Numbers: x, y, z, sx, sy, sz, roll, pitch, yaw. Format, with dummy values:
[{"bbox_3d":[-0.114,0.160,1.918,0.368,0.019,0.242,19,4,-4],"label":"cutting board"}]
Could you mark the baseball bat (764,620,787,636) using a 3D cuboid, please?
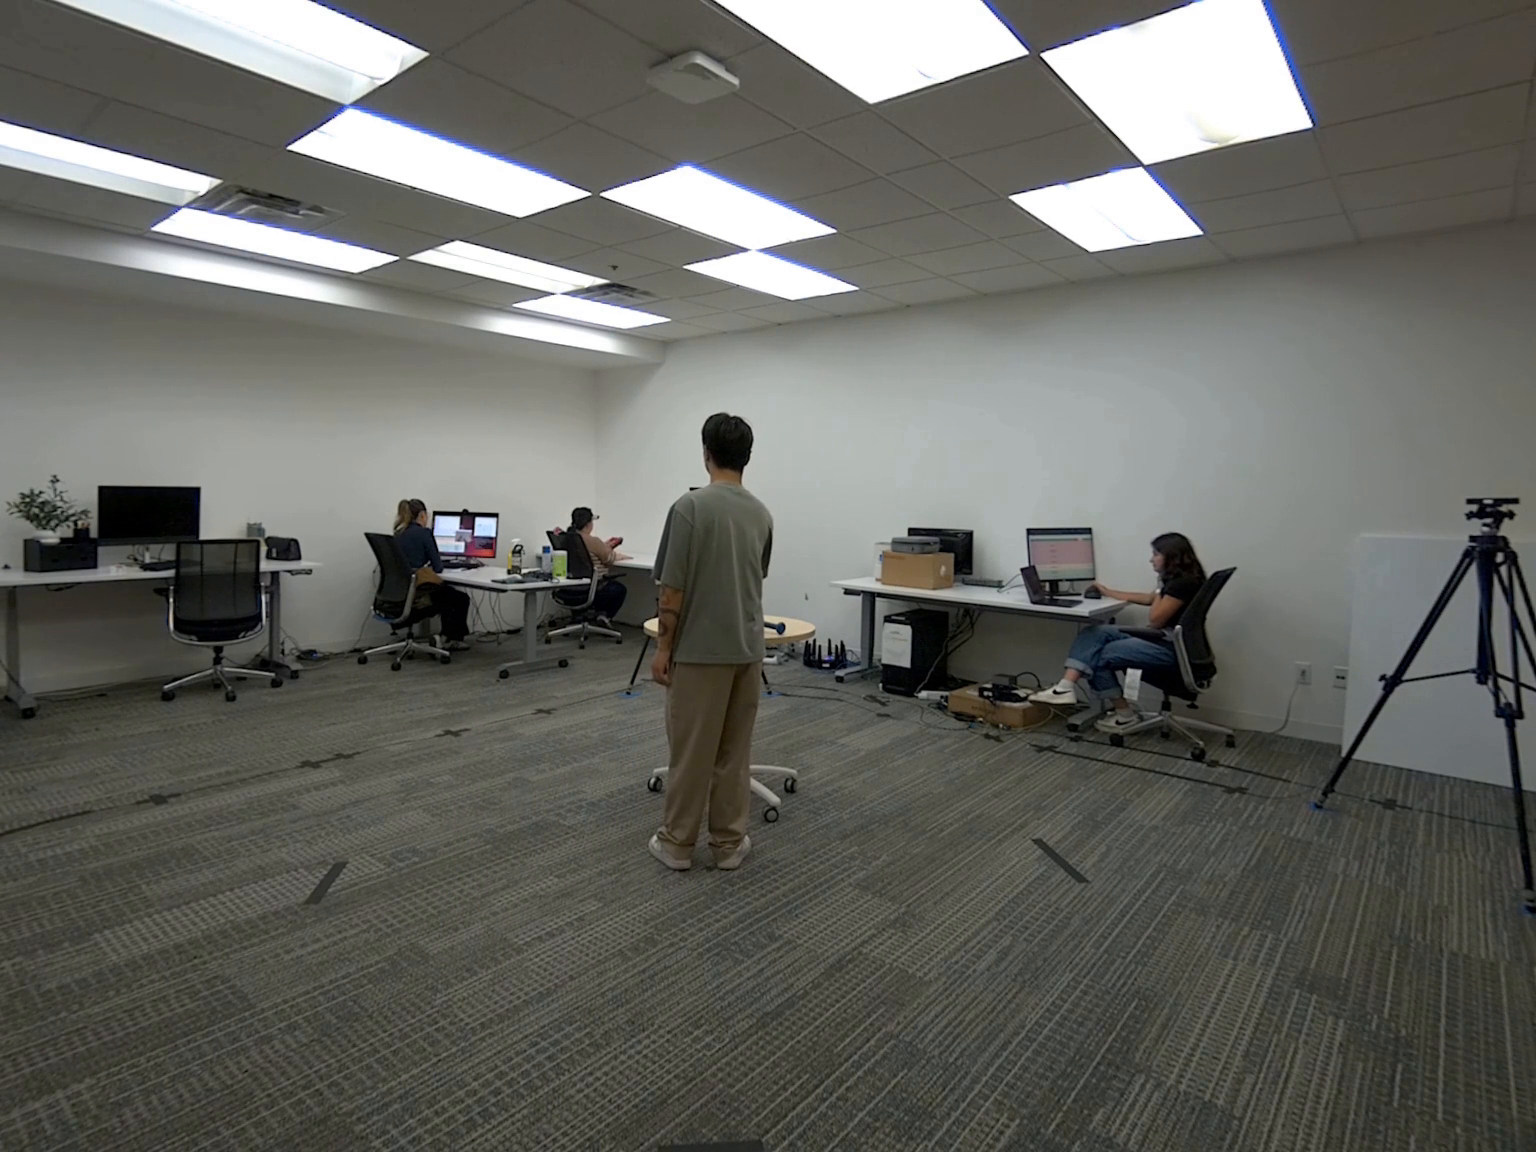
[{"bbox_3d":[-0.153,0.182,3.728,0.562,0.088,0.086,8,8,41],"label":"baseball bat"}]
